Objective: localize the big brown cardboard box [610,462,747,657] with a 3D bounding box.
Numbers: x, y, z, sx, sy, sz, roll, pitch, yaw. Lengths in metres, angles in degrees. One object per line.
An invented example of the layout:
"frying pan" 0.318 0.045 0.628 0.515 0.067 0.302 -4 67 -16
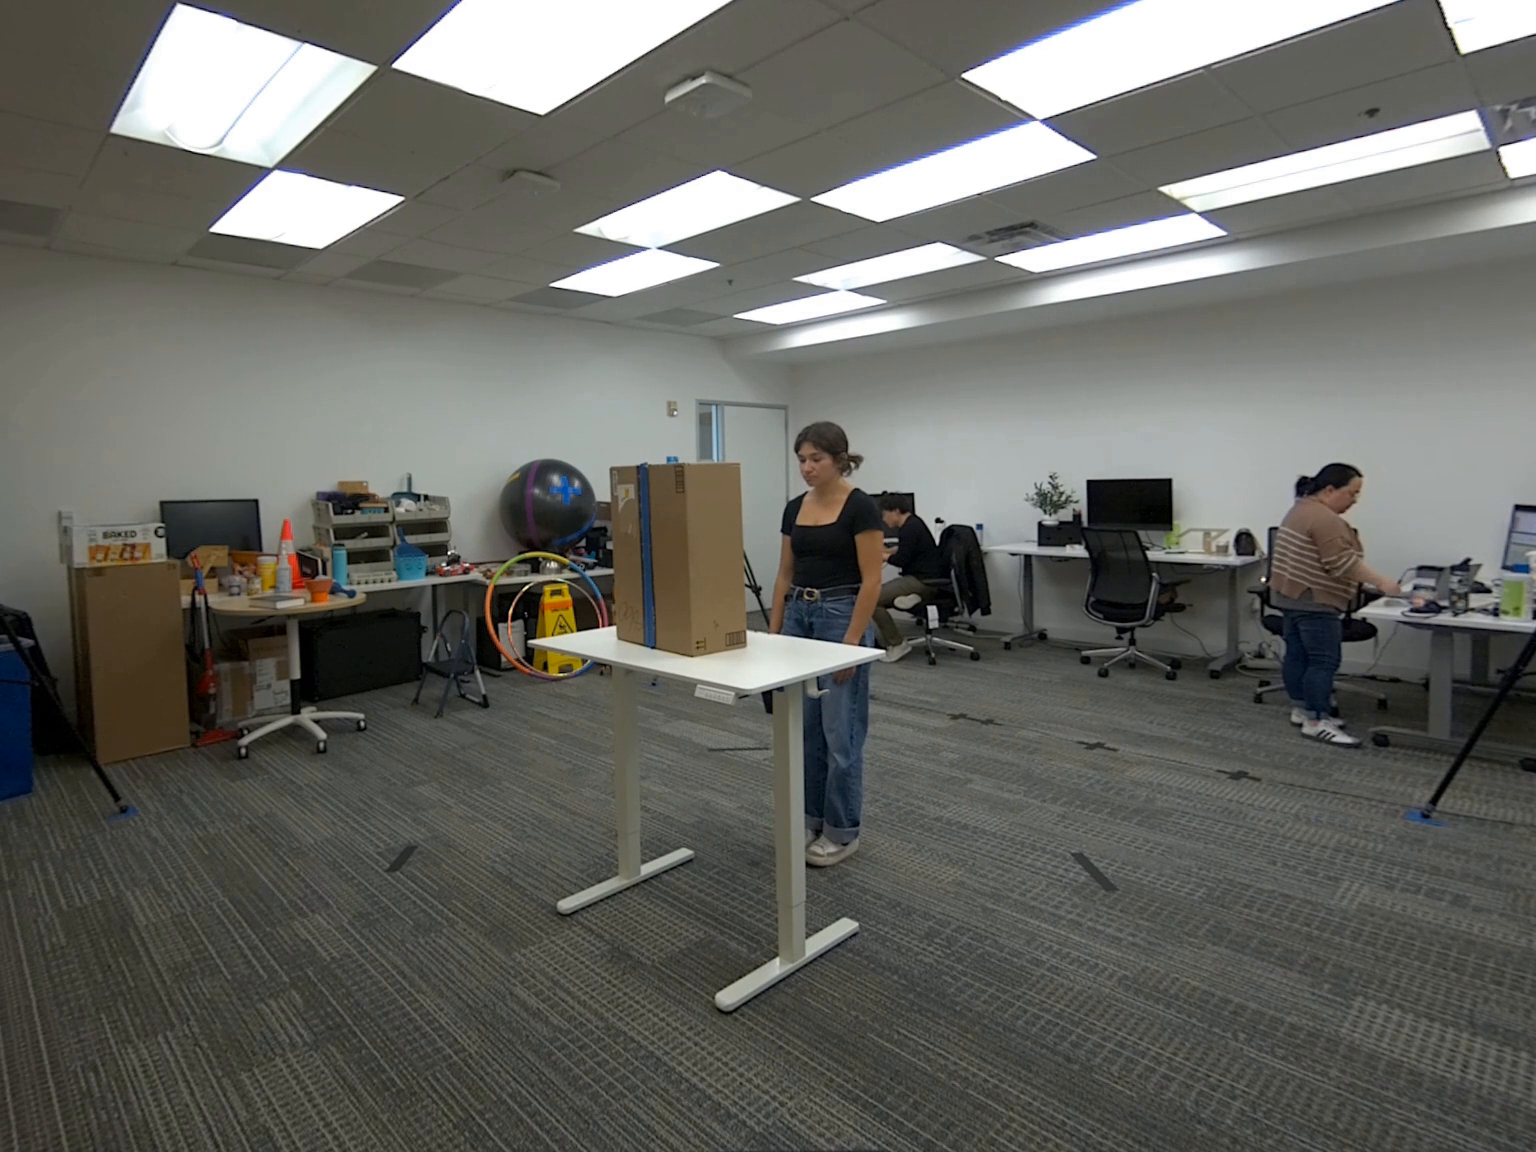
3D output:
"big brown cardboard box" -0.286 -0.075 2.691 0.227 0.587 0.430 -6 5 -40
